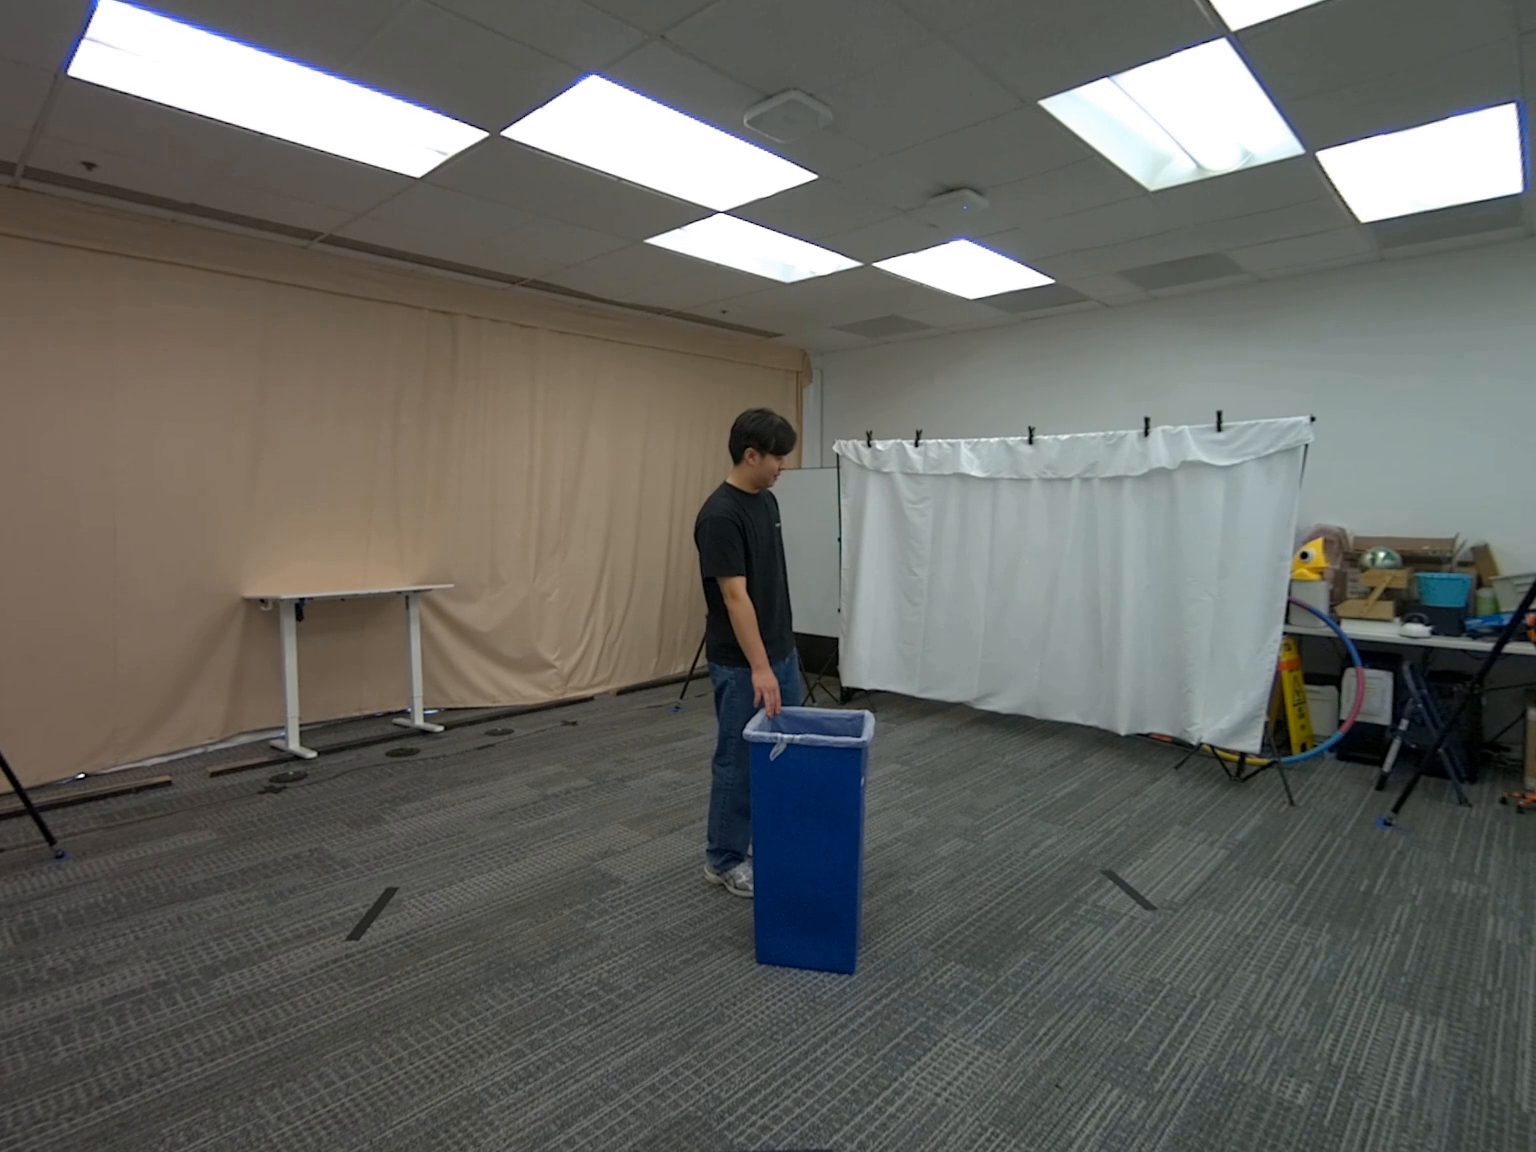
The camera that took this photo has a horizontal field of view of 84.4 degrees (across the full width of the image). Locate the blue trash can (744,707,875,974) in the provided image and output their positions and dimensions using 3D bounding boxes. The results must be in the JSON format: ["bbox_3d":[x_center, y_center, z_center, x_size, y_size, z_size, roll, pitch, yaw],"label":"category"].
[{"bbox_3d":[0.144,0.814,2.648,0.383,0.713,0.369,1,2,11],"label":"blue trash can"}]
